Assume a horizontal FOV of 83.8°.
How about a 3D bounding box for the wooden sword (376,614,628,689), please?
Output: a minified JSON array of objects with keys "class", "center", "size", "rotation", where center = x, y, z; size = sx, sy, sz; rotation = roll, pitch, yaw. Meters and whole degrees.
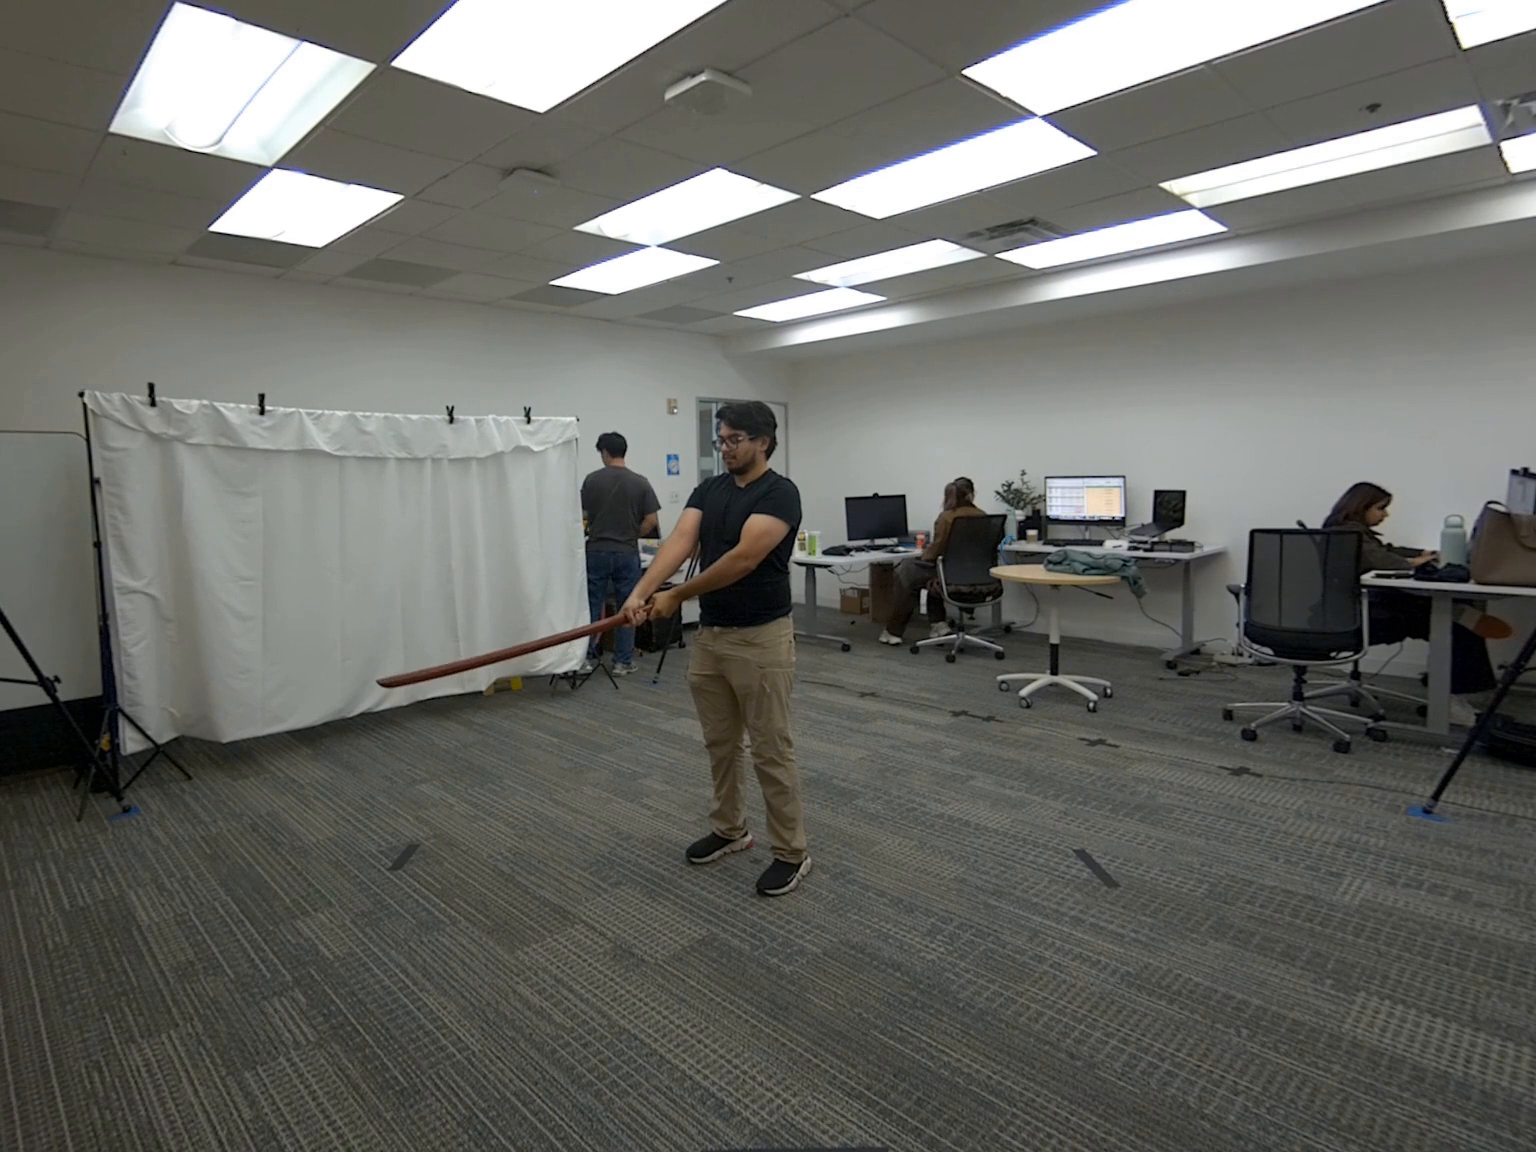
[{"class":"wooden sword","center":[-0.670,0.194,2.491],"size":[0.025,0.050,1.002],"rotation":[16,22,42]}]
